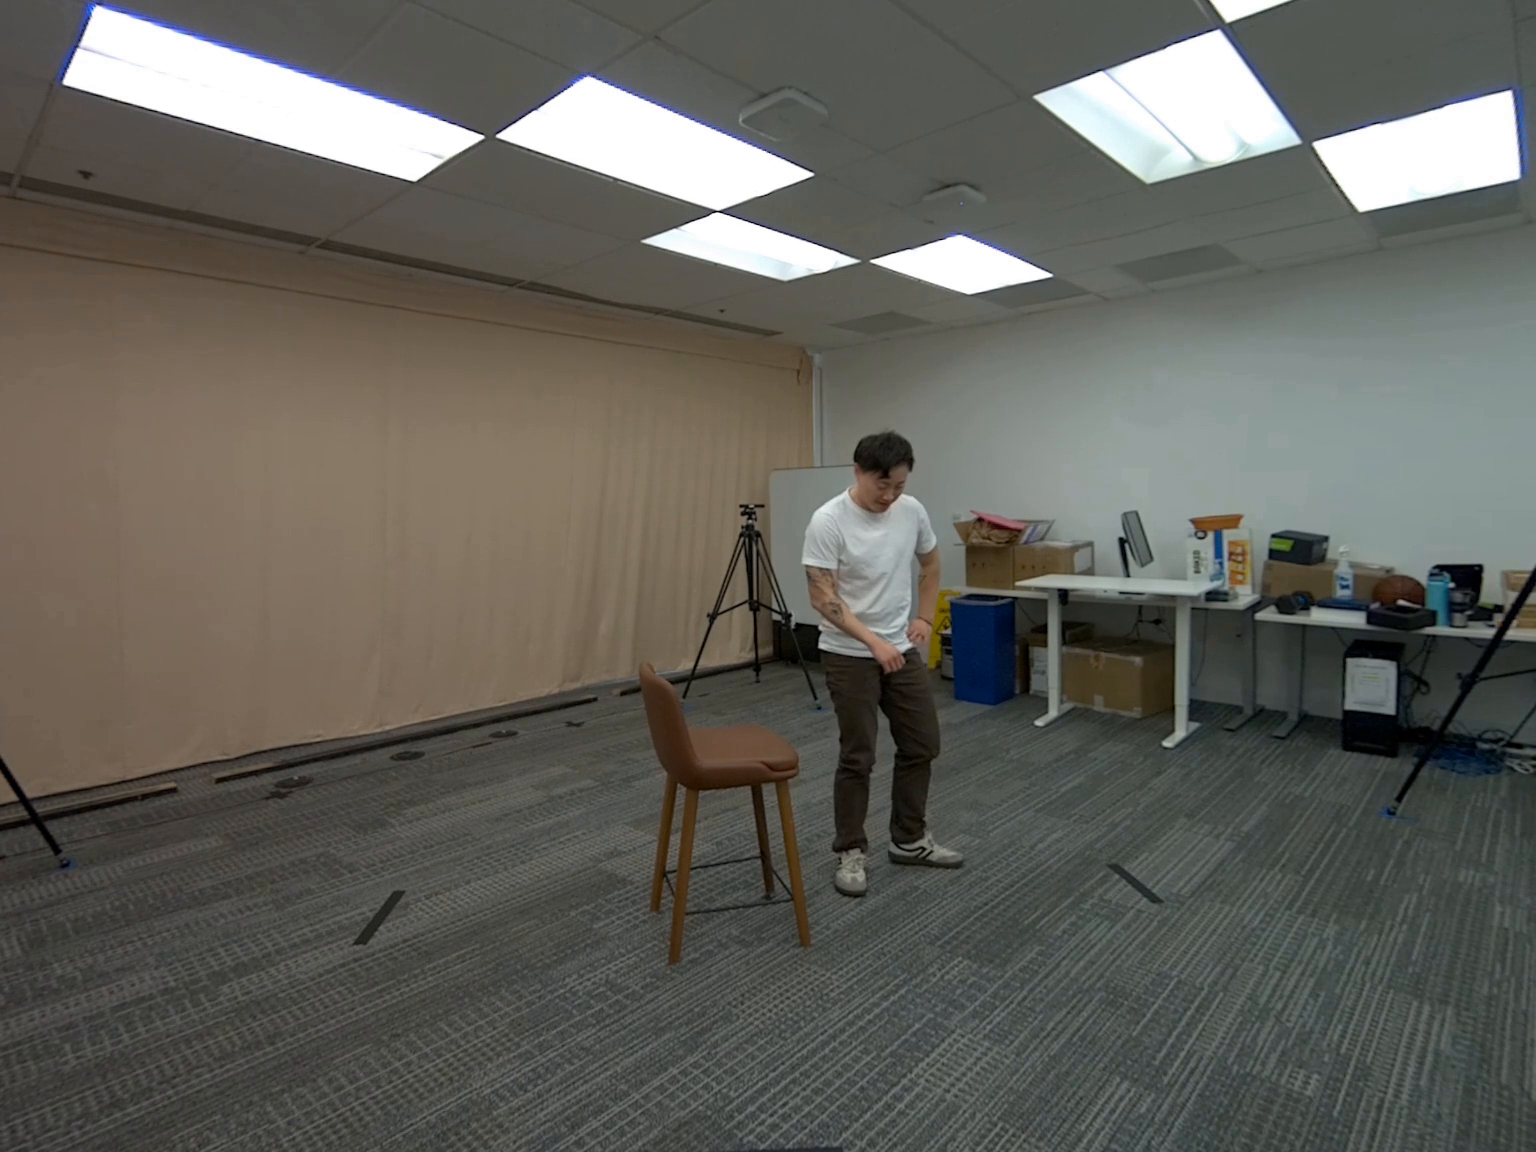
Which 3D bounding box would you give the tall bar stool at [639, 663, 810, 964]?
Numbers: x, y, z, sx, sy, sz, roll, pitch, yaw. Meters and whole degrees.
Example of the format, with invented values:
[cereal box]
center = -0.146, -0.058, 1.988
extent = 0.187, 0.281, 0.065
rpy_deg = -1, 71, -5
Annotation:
[tall bar stool]
center = -0.146, 0.725, 2.766
extent = 0.460, 0.888, 0.464
rpy_deg = -3, 4, -15
